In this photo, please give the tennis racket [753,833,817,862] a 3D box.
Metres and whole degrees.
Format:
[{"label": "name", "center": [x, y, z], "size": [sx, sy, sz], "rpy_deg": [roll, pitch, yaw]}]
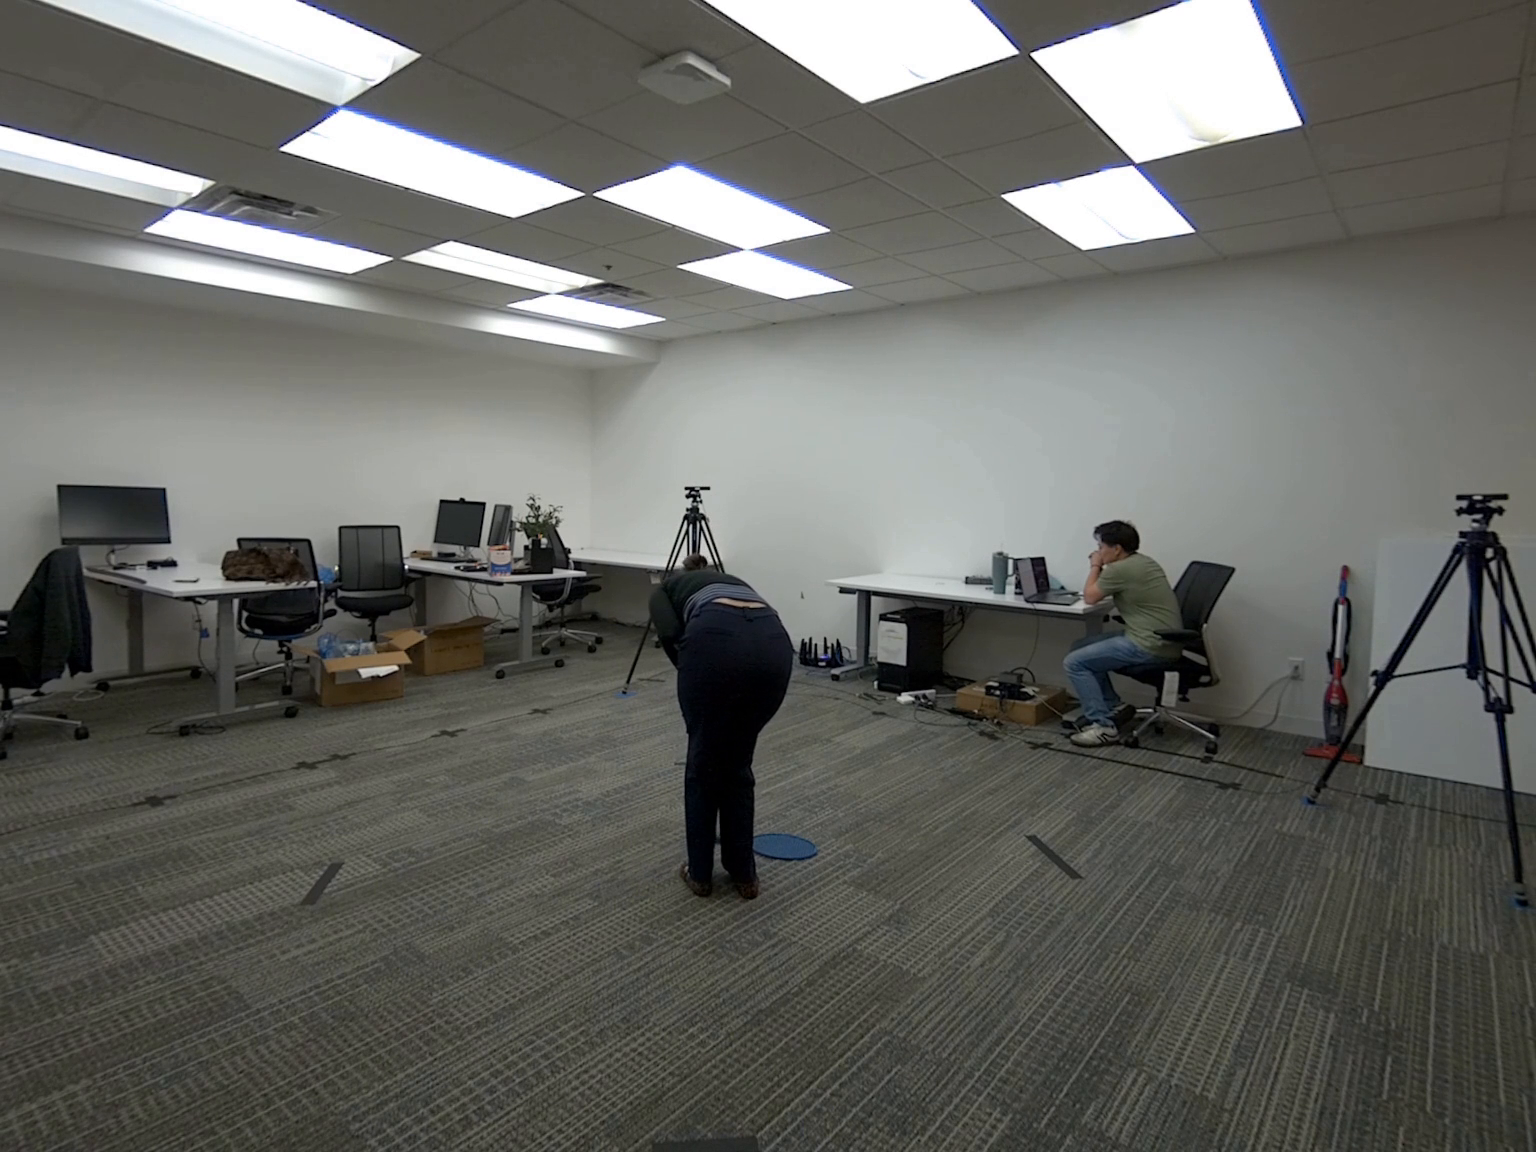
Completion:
[{"label": "tennis racket", "center": [-0.034, 1.035, 3.298], "size": [0.437, 0.031, 0.212], "rpy_deg": [3, 6, 8]}]
